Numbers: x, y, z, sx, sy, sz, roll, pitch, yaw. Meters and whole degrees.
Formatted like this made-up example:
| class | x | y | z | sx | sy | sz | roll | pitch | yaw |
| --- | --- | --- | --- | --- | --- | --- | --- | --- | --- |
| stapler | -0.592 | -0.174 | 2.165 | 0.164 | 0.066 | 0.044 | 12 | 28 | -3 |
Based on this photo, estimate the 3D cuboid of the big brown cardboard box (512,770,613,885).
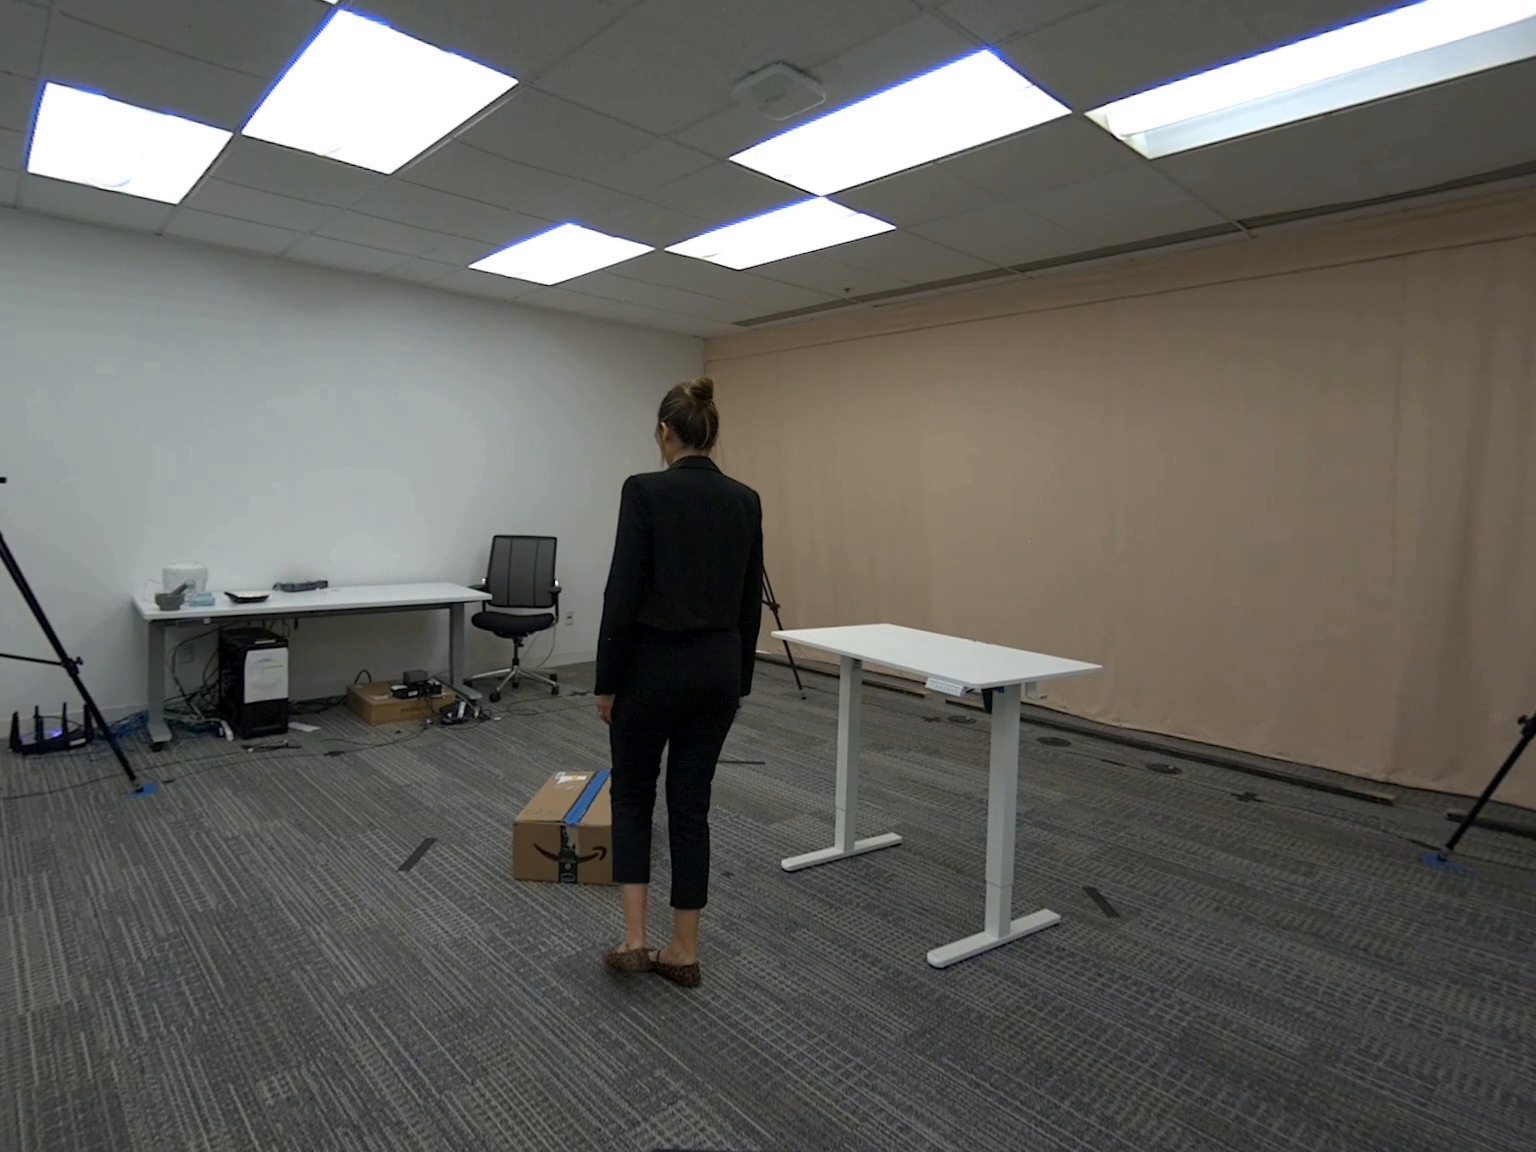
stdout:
| class | x | y | z | sx | sy | sz | roll | pitch | yaw |
| --- | --- | --- | --- | --- | --- | --- | --- | --- | --- |
| big brown cardboard box | -0.709 | 0.962 | 3.278 | 0.418 | 0.232 | 0.590 | 1 | 6 | 2 |
